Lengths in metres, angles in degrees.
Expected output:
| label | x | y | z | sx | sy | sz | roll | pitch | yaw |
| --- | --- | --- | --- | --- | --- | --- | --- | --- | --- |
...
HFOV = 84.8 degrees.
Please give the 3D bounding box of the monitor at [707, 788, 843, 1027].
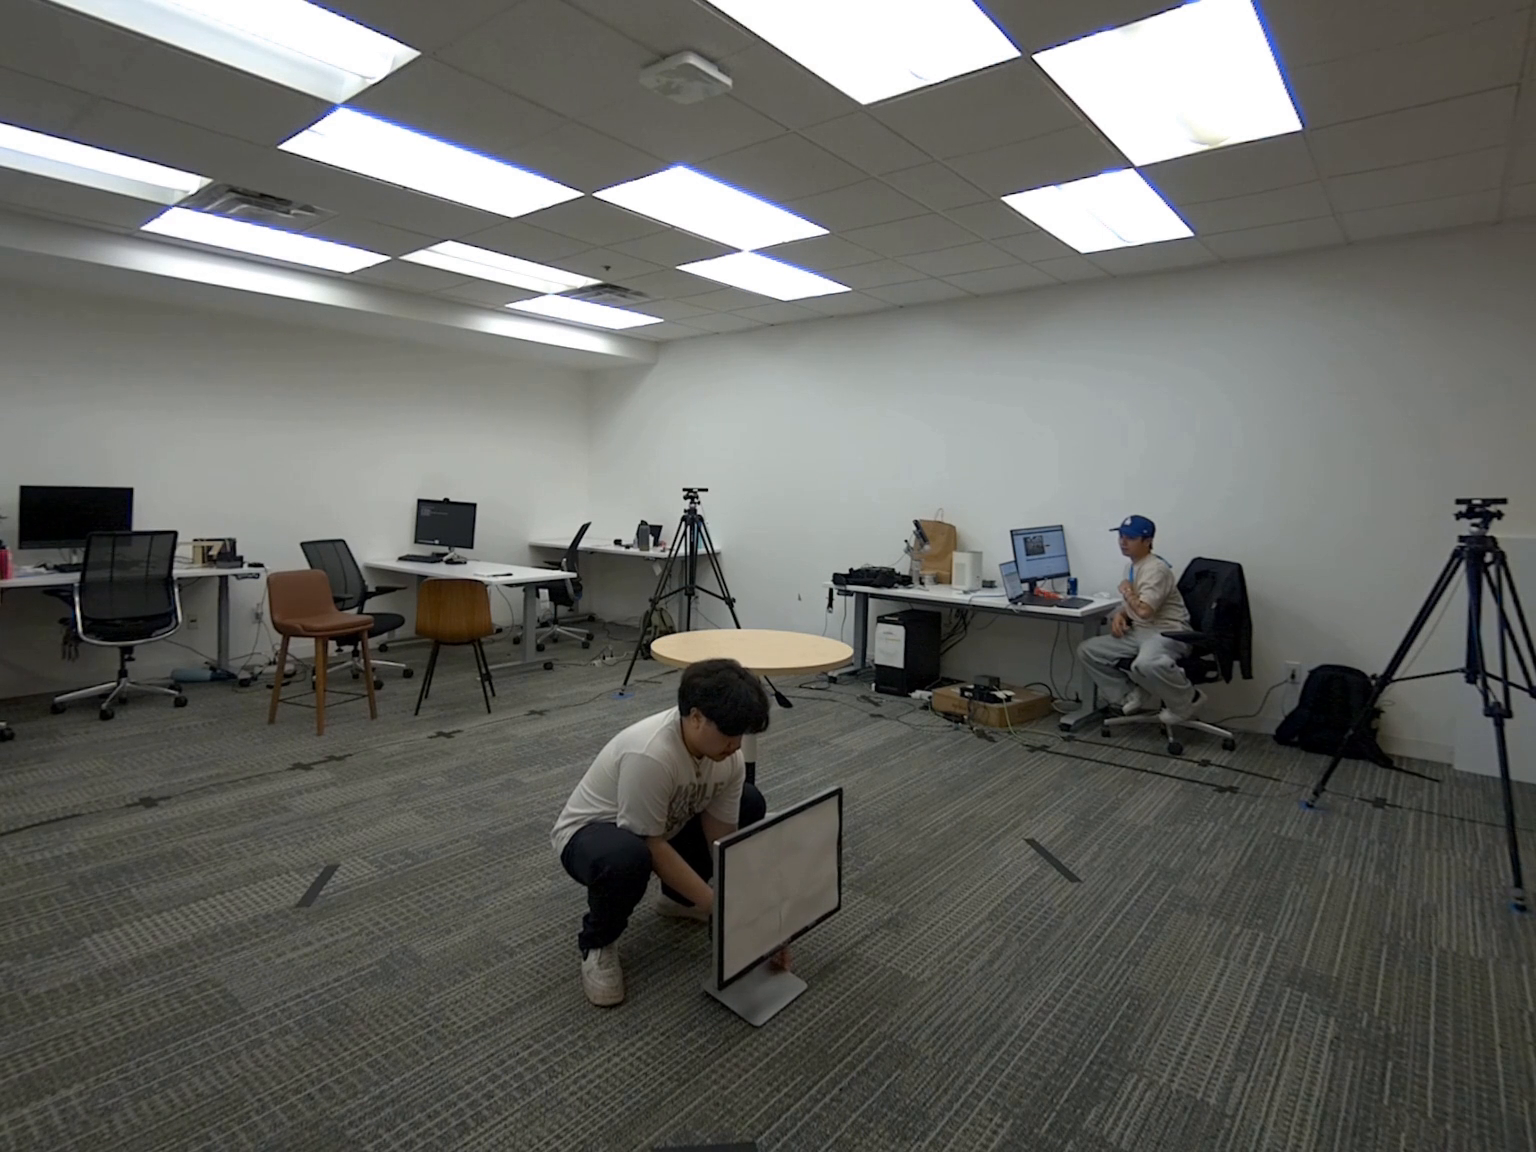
| label | x | y | z | sx | sy | sz | roll | pitch | yaw |
| --- | --- | --- | --- | --- | --- | --- | --- | --- | --- |
| monitor | -0.025 | 0.888 | 2.331 | 0.217 | 0.551 | 0.549 | 9 | 8 | 38 |
